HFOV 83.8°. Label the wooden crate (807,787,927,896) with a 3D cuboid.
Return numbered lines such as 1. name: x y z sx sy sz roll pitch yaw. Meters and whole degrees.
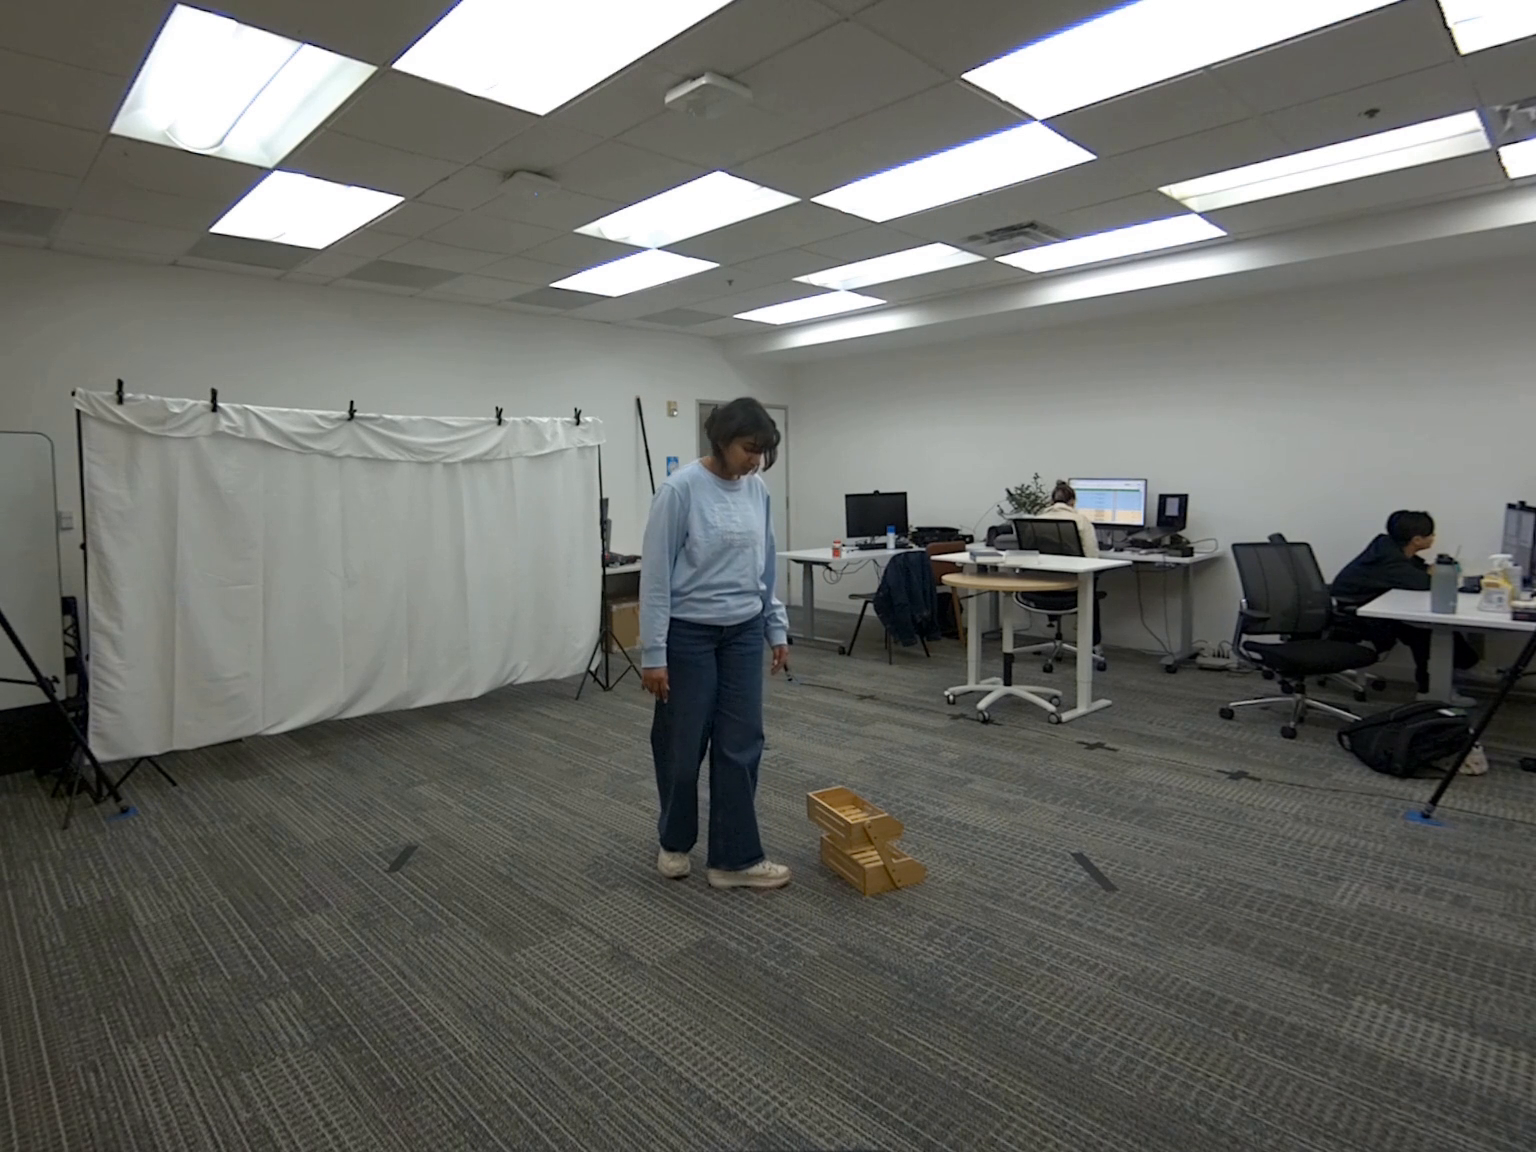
1. wooden crate: 0.347 0.909 3.020 0.296 0.272 0.332 -5 6 -26
